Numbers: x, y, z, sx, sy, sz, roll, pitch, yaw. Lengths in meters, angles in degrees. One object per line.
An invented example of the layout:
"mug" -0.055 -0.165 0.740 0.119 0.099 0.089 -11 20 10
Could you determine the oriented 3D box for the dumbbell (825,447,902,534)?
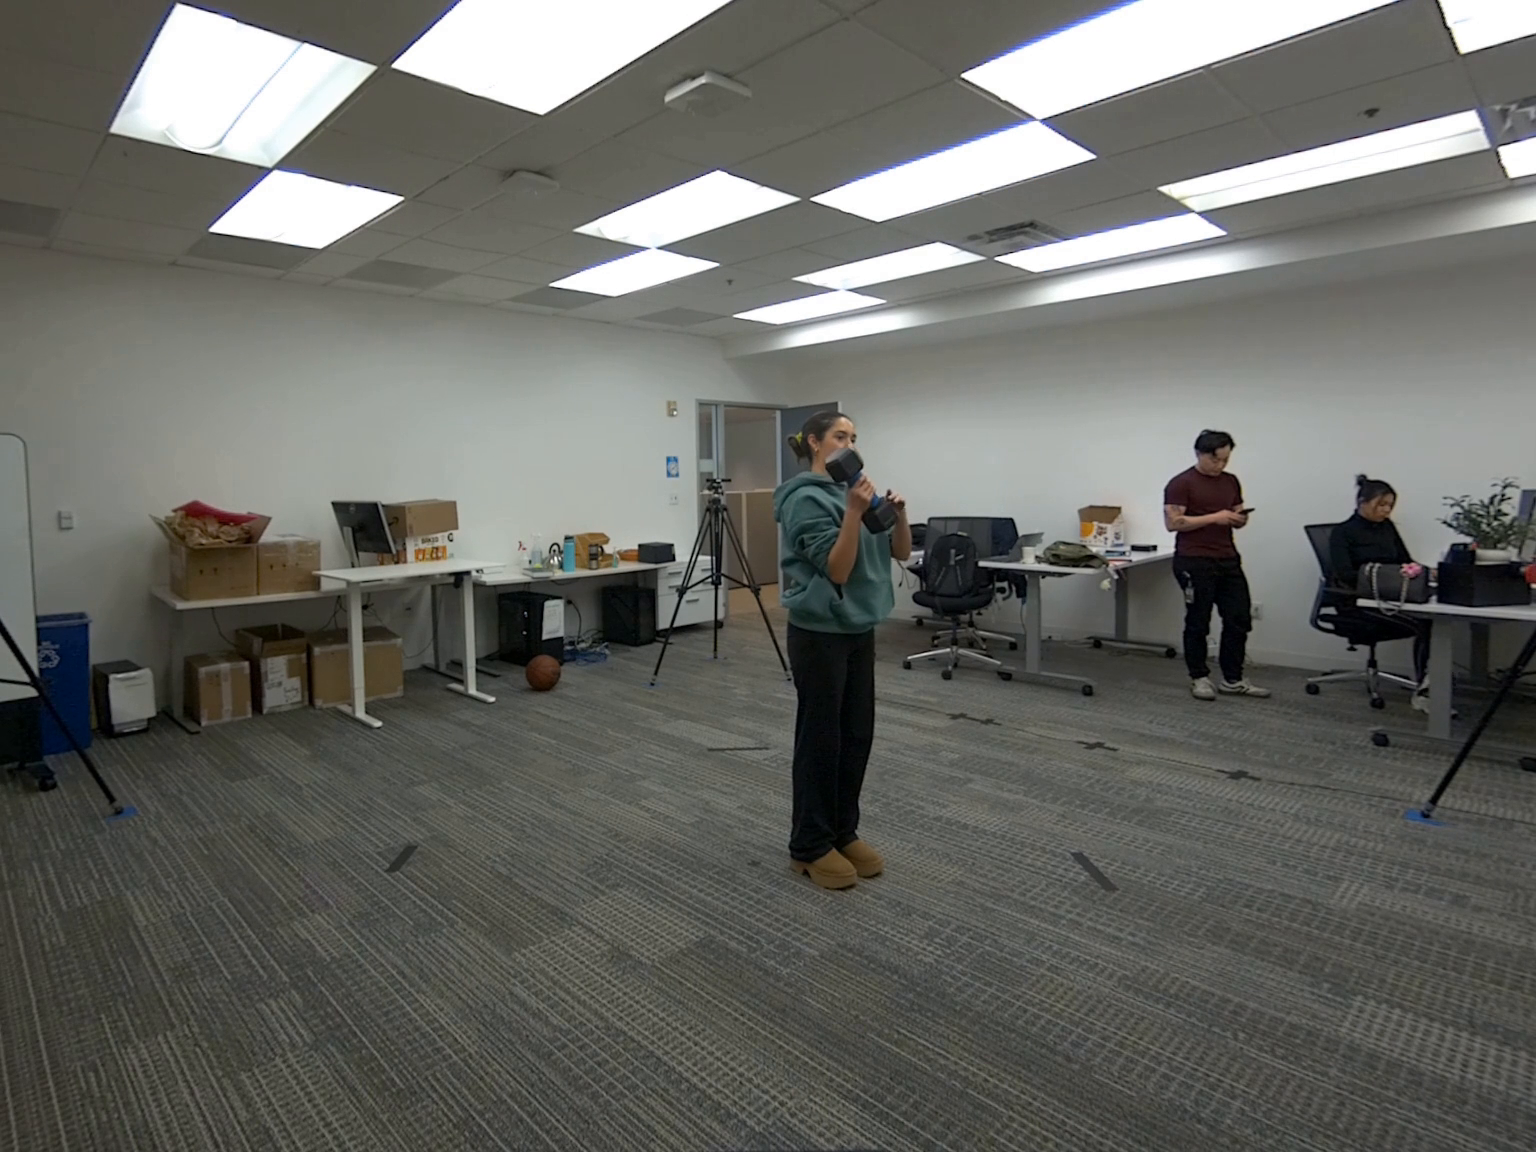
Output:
"dumbbell" 0.298 -0.278 2.738 0.125 0.288 0.109 -22 21 45
